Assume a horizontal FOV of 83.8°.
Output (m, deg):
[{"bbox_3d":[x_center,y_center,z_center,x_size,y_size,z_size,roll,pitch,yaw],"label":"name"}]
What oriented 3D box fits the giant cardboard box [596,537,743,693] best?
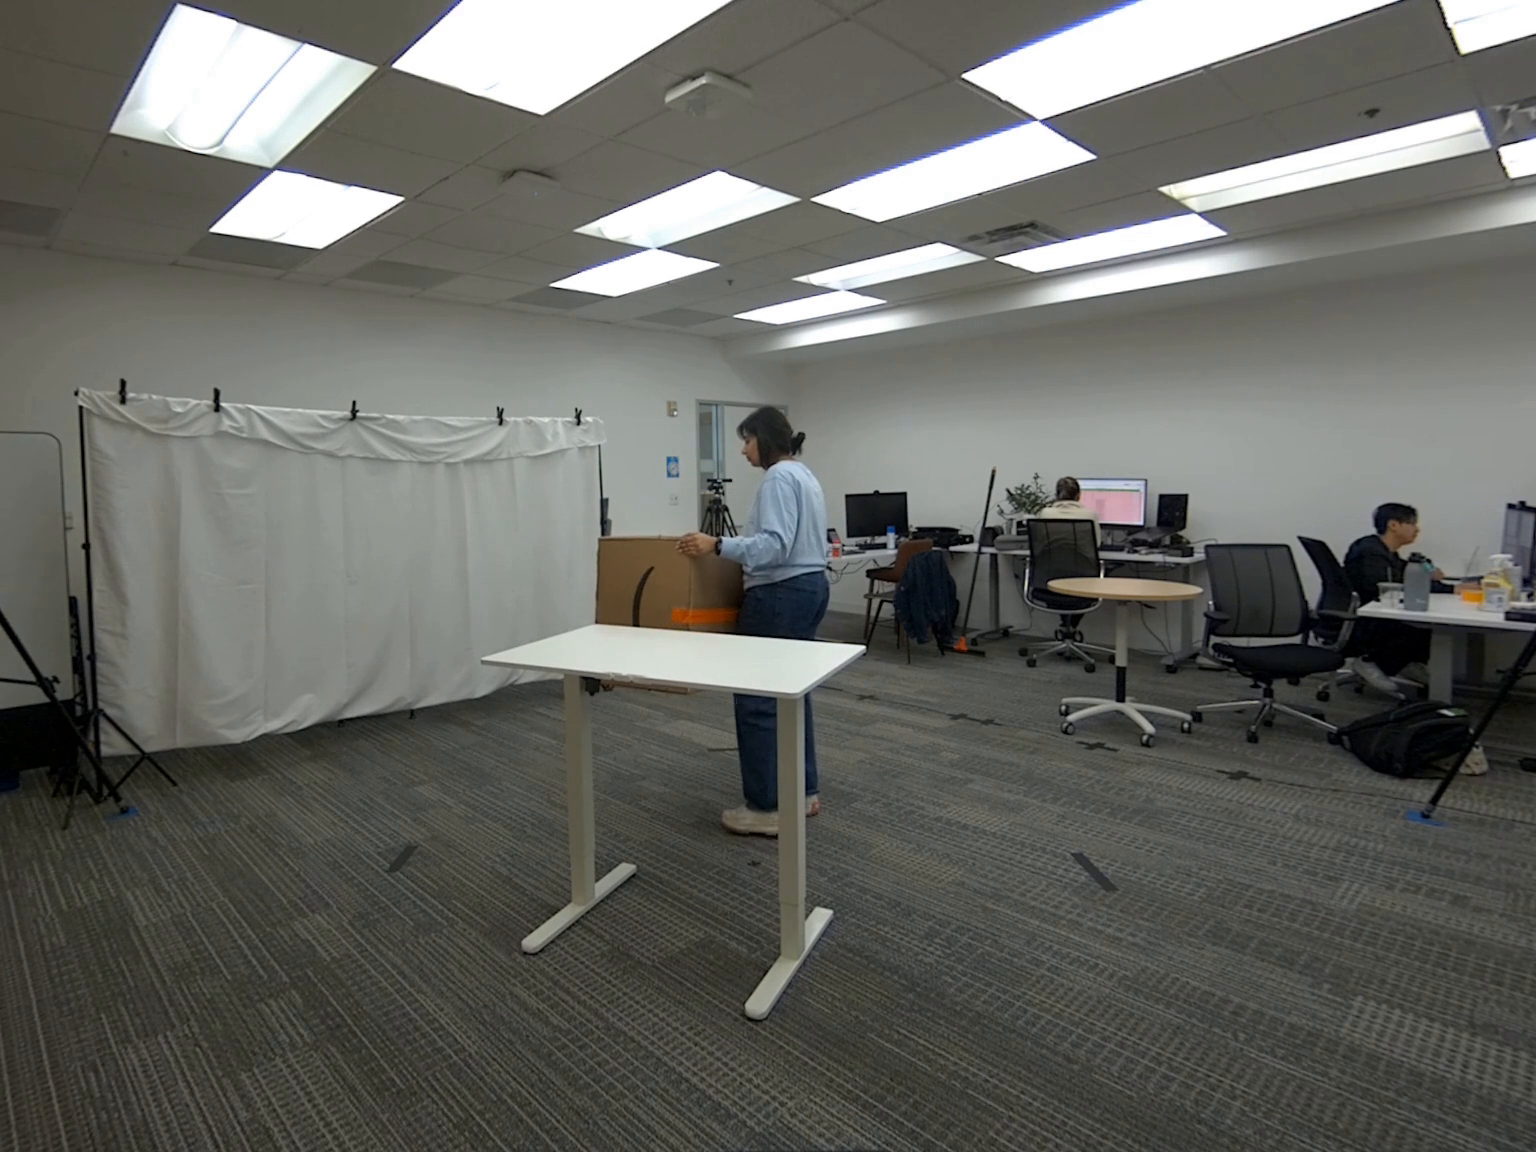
[{"bbox_3d":[-0.277,0.138,3.689,0.436,0.578,1.002,3,1,24],"label":"giant cardboard box"}]
